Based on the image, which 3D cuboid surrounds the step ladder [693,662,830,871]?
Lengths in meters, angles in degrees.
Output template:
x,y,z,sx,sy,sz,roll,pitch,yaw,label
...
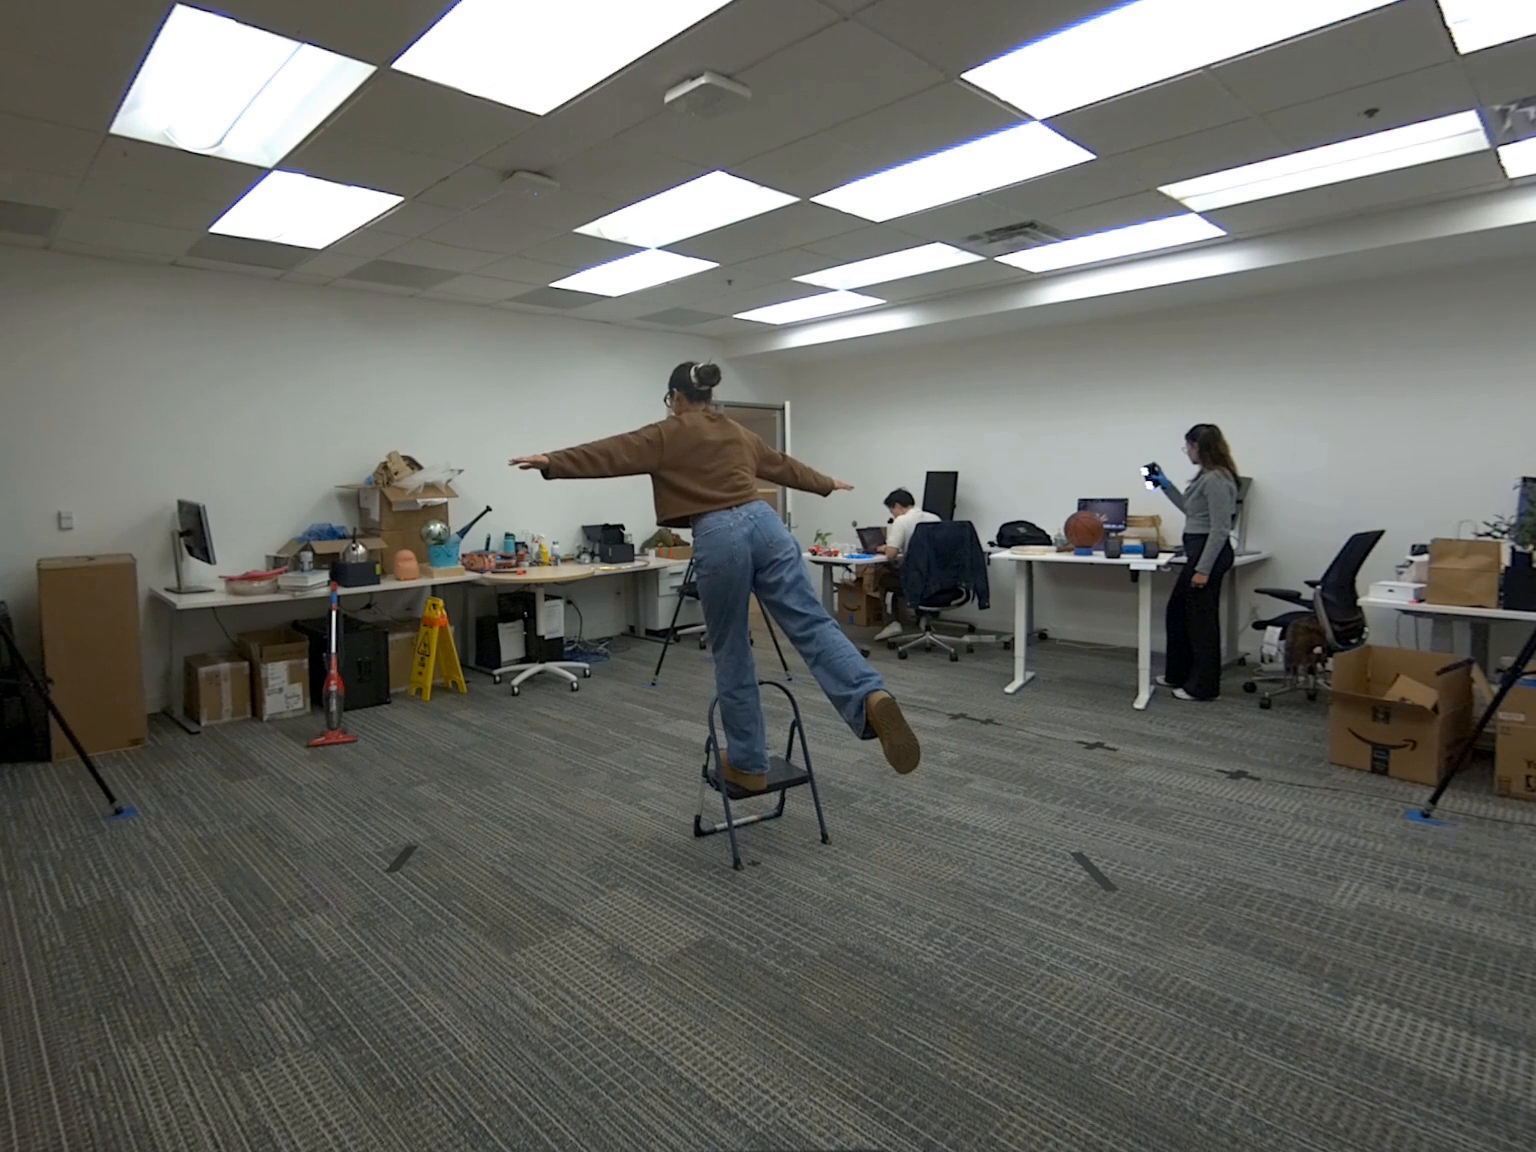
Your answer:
x,y,z,sx,sy,sz,roll,pitch,yaw,label
-0.029,0.722,3.292,0.420,0.604,0.359,-4,5,-33,step ladder
